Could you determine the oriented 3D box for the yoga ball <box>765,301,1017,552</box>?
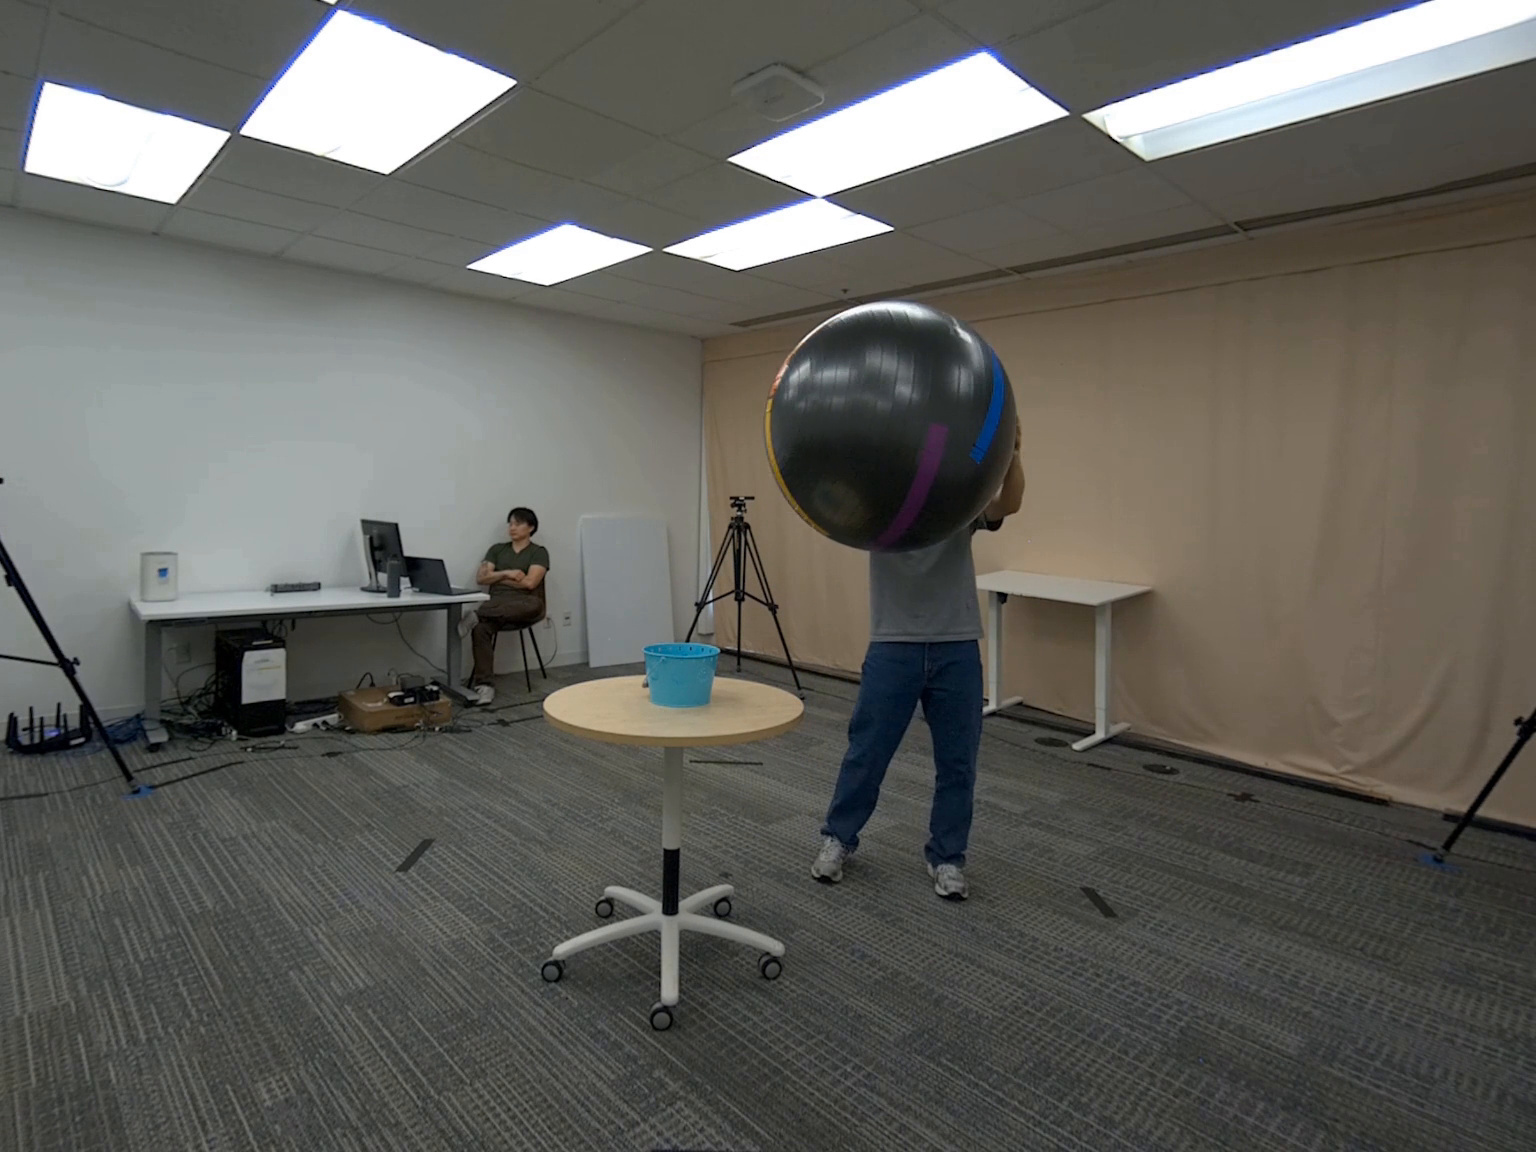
[{"bbox_3d":[0.363,-0.445,2.595,0.757,0.756,0.761,1,4,-1],"label":"yoga ball"}]
